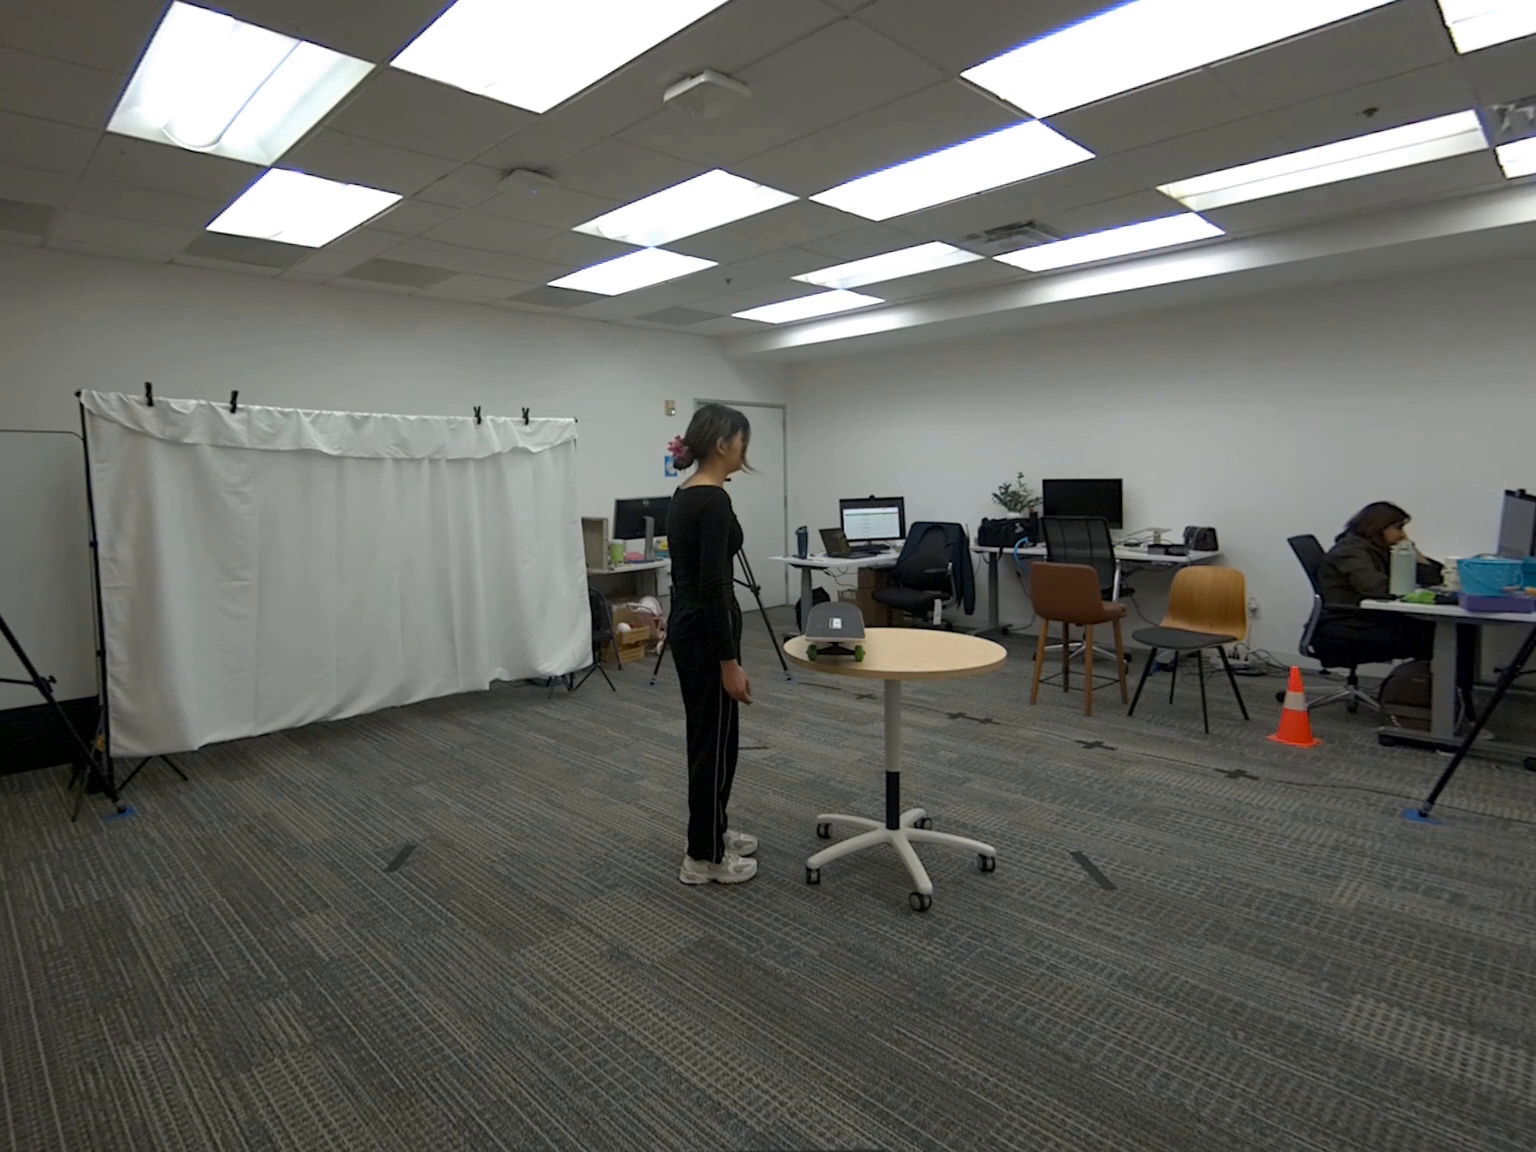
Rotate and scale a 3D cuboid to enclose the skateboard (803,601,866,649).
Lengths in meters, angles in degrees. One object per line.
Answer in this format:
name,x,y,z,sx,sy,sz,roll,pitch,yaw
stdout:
skateboard,0.231,0.205,2.991,0.195,0.110,0.784,0,7,5
